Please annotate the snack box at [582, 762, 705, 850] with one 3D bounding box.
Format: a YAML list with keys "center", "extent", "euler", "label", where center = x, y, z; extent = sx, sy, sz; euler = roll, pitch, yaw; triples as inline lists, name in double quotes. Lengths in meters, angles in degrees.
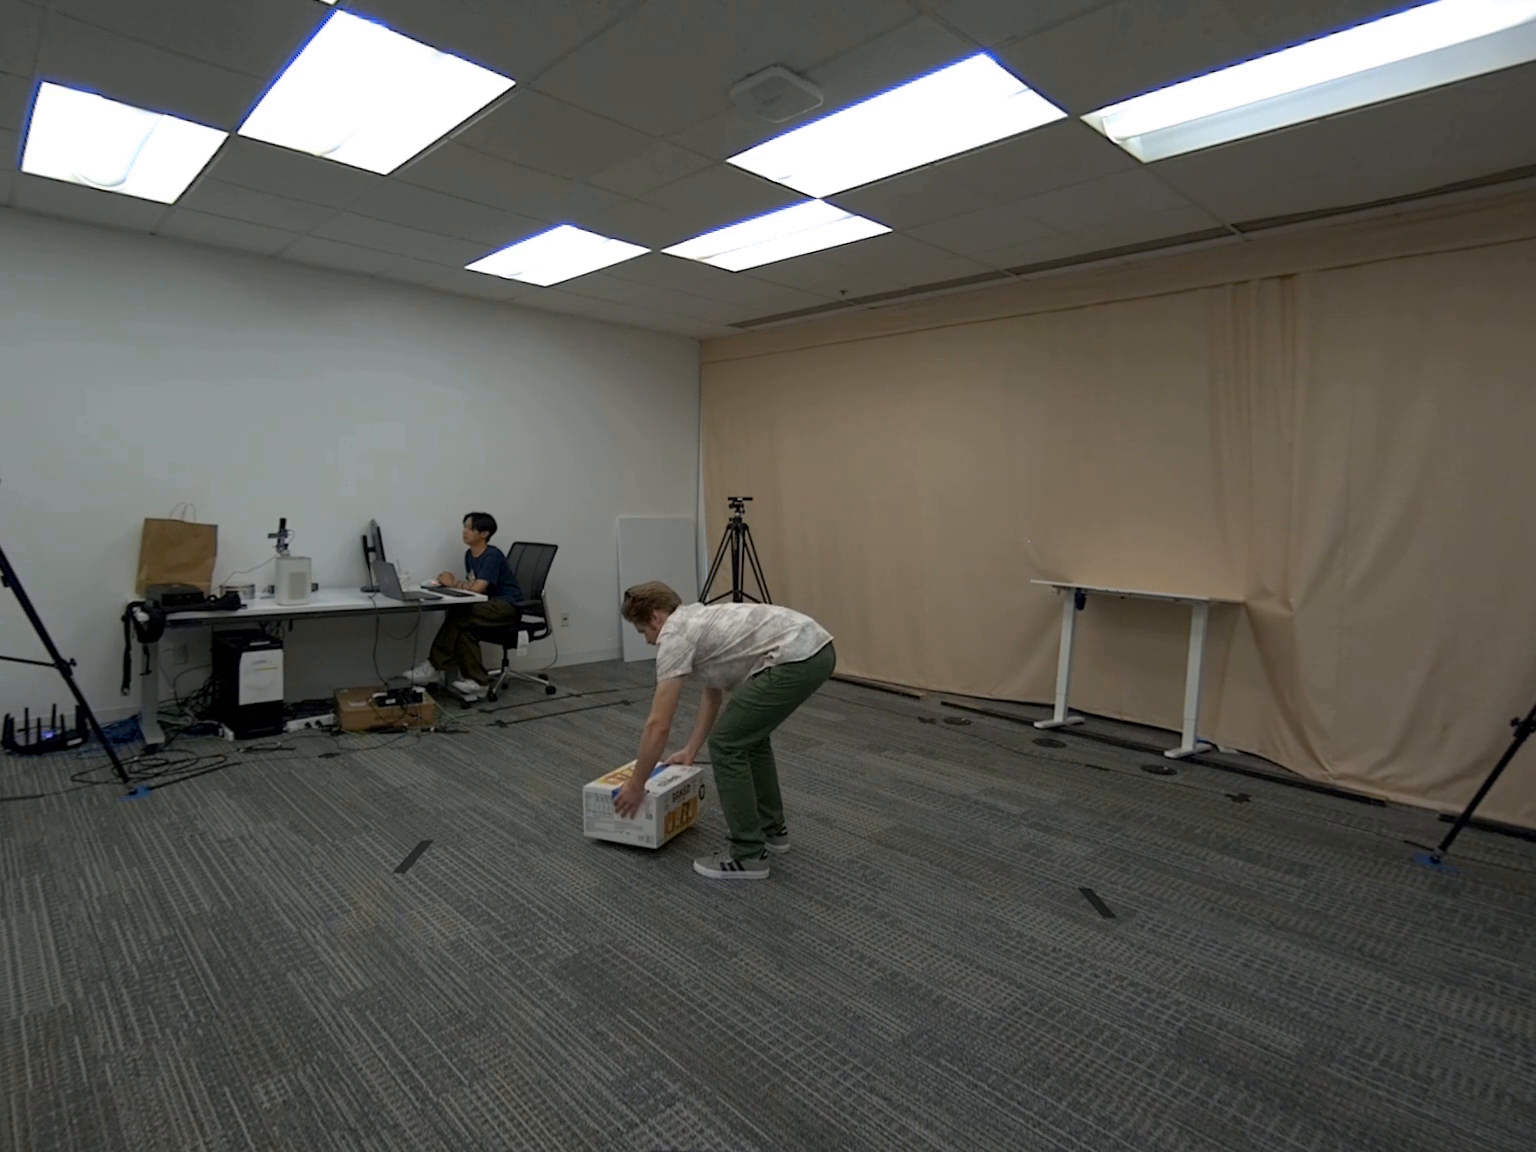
- center: [-0.511, 0.918, 3.453]
  extent: [0.346, 0.205, 0.399]
  euler: [1, 4, 24]
  label: "snack box"
